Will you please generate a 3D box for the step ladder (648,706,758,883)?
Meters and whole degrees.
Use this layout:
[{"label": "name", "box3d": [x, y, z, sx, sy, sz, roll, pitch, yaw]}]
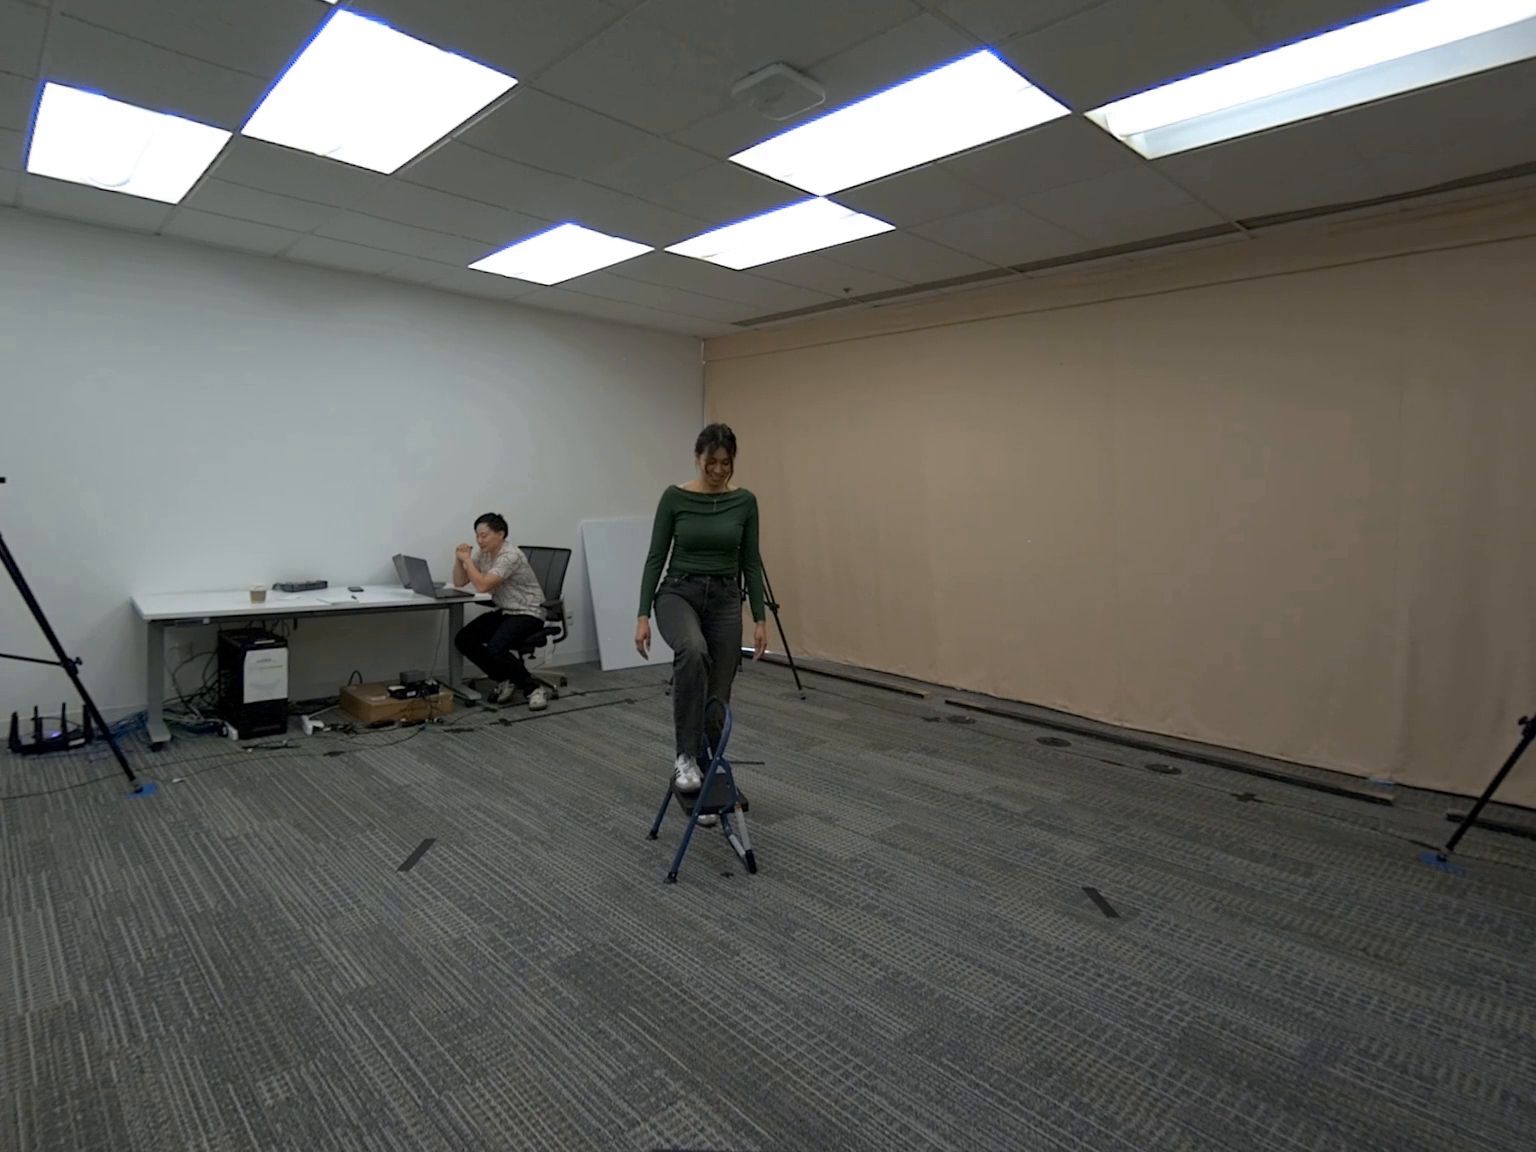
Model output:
[{"label": "step ladder", "box3d": [-0.263, 0.786, 3.249, 0.345, 0.605, 0.437, 0, 3, -17]}]
